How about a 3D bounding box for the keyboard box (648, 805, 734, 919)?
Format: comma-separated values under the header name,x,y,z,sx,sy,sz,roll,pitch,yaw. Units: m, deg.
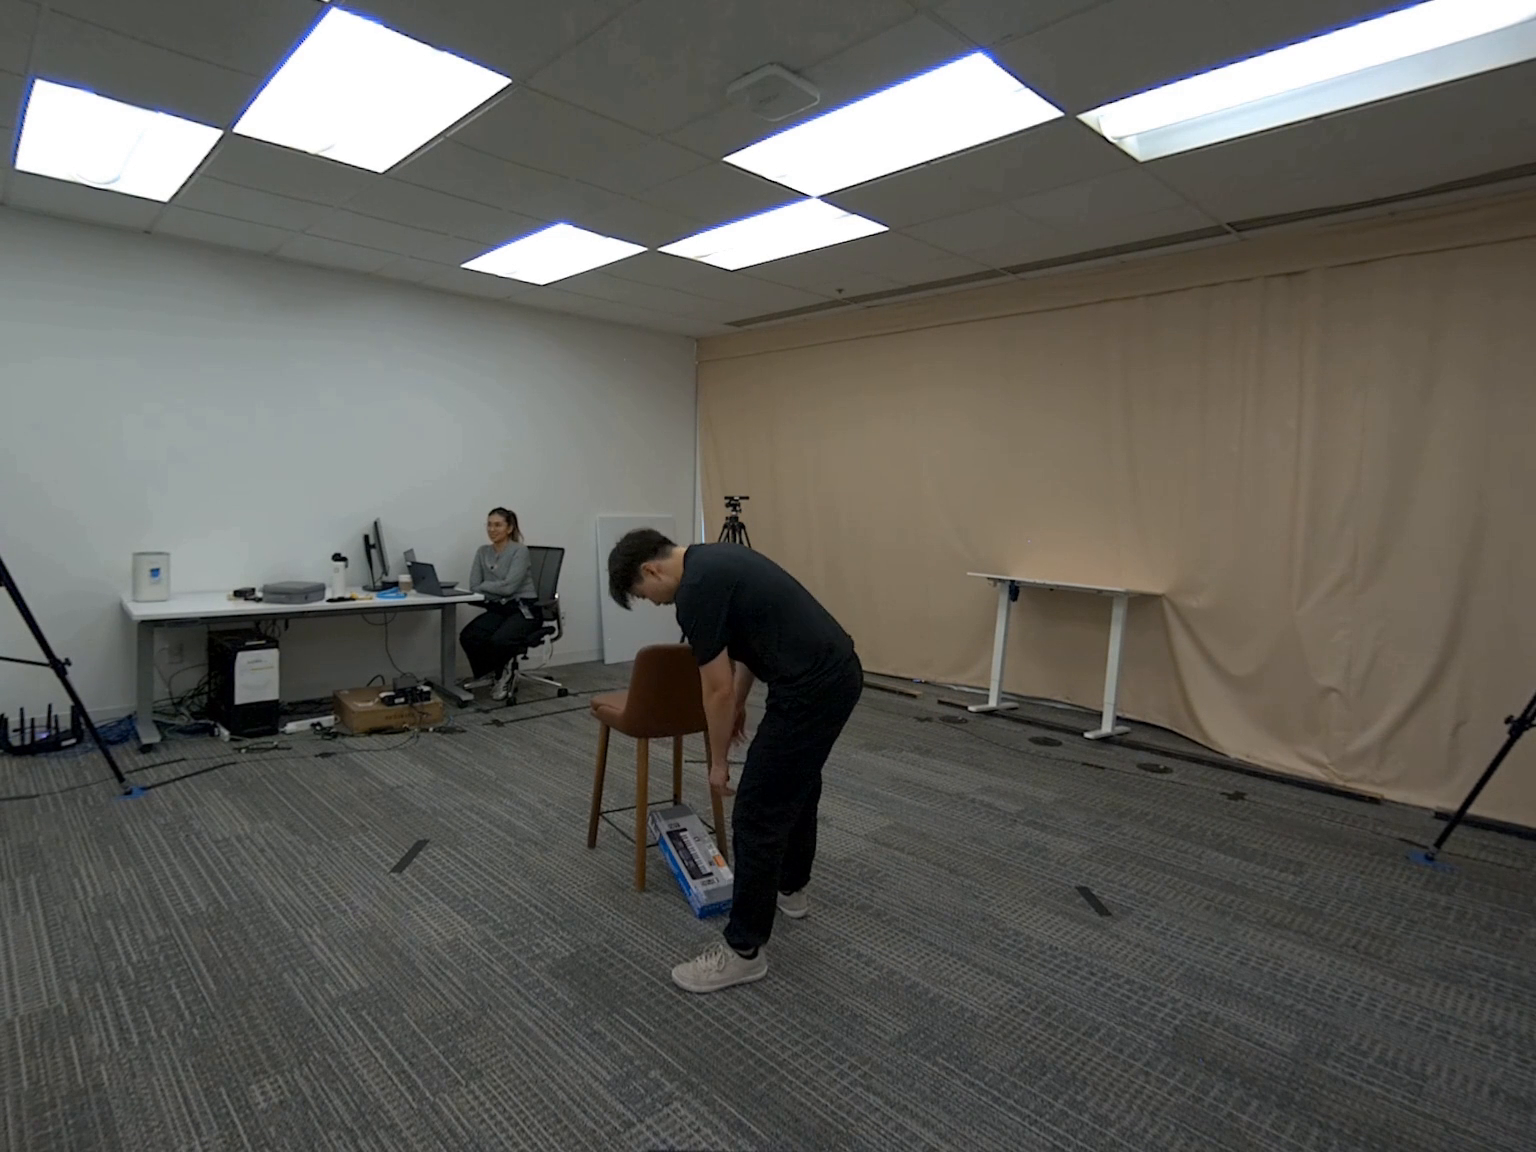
name,x,y,z,sx,sy,sz,roll,pitch,yaw
keyboard box,-0.264,0.997,2.973,0.172,0.058,0.451,-2,31,-32
